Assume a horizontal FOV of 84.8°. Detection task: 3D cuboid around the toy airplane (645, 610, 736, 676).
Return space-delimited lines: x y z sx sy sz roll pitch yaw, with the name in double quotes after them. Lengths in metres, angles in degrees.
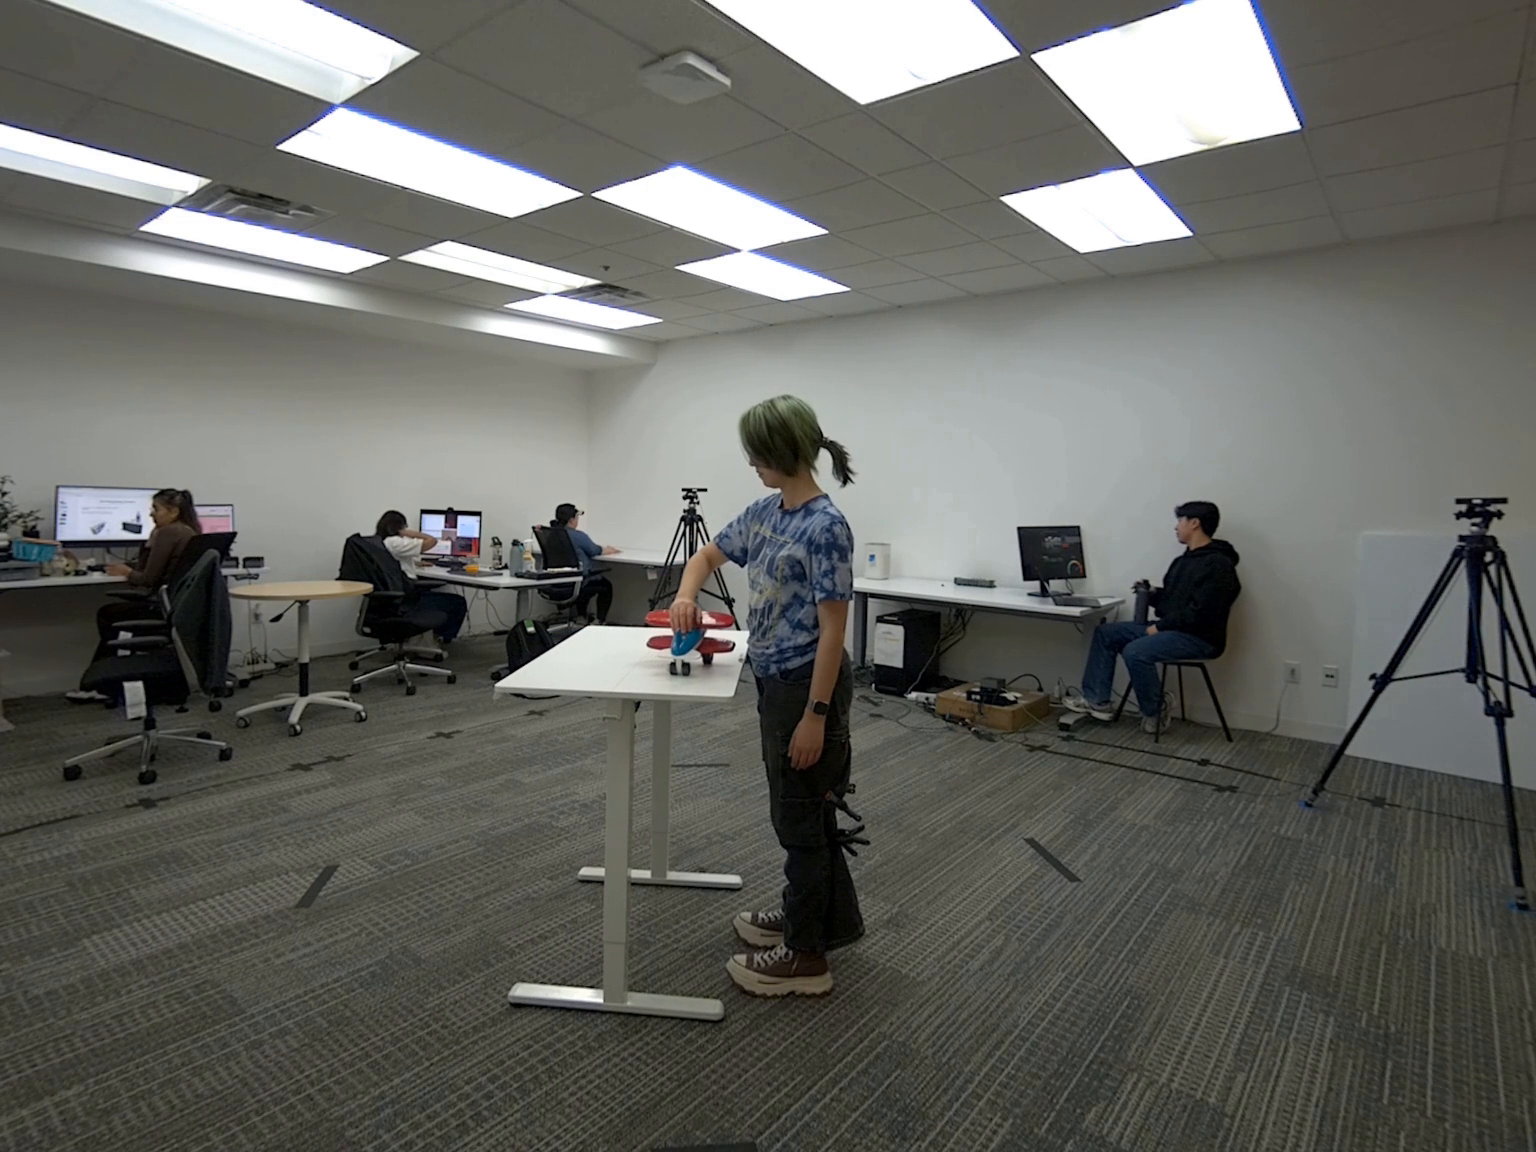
-0.216 0.182 2.396 0.246 0.156 0.266 0 5 -21 "toy airplane"
